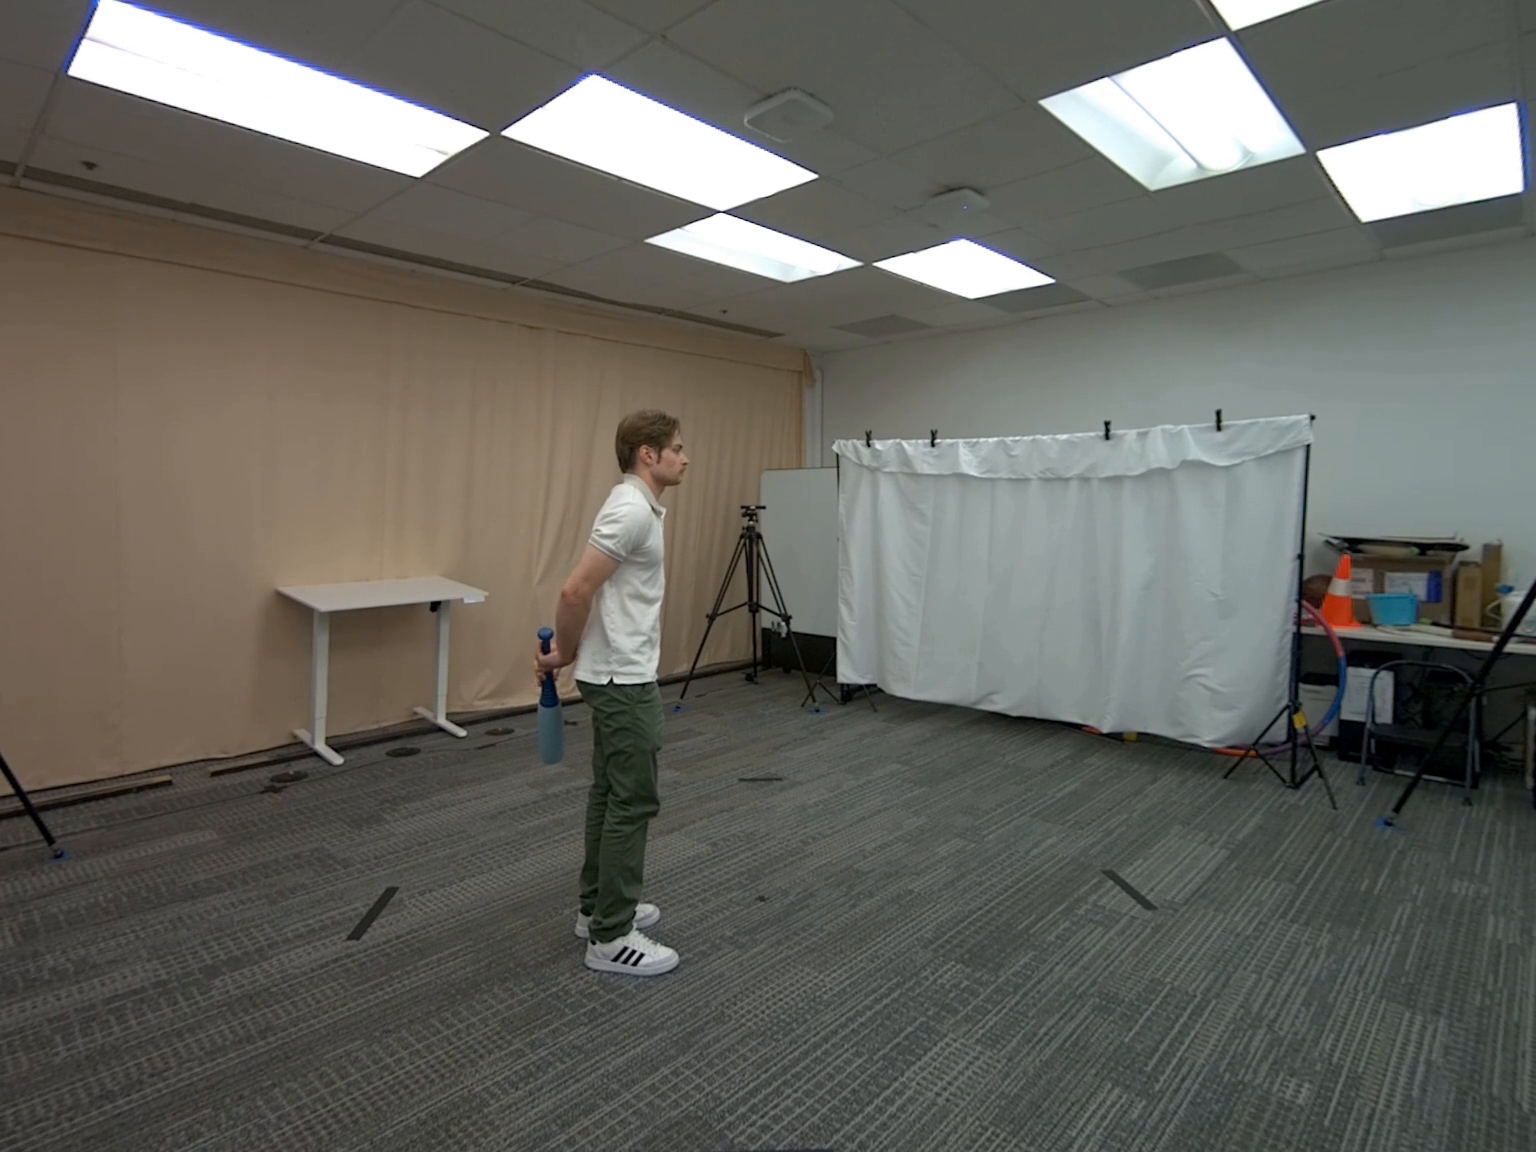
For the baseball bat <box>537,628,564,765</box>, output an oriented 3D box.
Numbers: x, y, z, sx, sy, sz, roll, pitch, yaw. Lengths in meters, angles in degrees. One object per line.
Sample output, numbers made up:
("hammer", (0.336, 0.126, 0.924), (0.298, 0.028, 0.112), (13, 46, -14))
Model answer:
("baseball bat", (-0.728, 0.407, 2.783), (0.089, 0.535, 0.090), (3, 28, -4))
